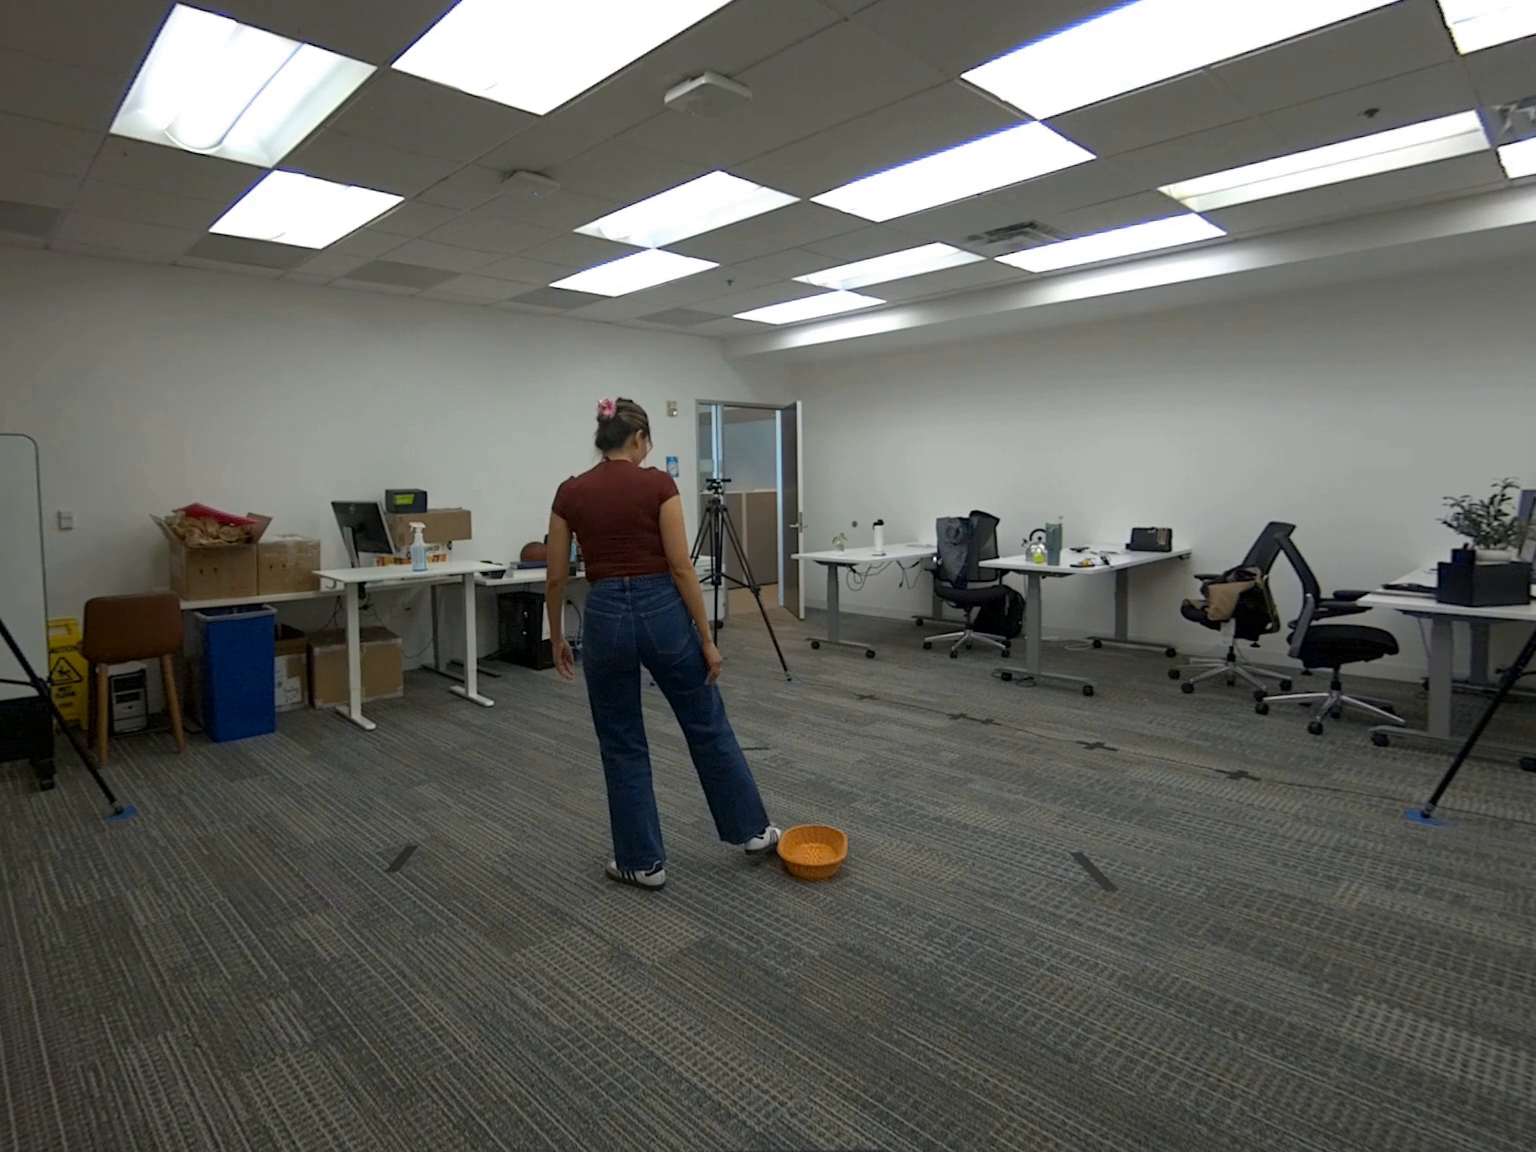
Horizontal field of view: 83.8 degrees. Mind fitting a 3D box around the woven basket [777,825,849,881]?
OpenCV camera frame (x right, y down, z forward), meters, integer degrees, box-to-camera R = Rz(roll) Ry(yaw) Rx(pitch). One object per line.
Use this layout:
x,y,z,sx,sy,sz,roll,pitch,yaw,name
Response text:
0.158,0.994,3.101,0.255,0.073,0.348,0,6,10,woven basket
